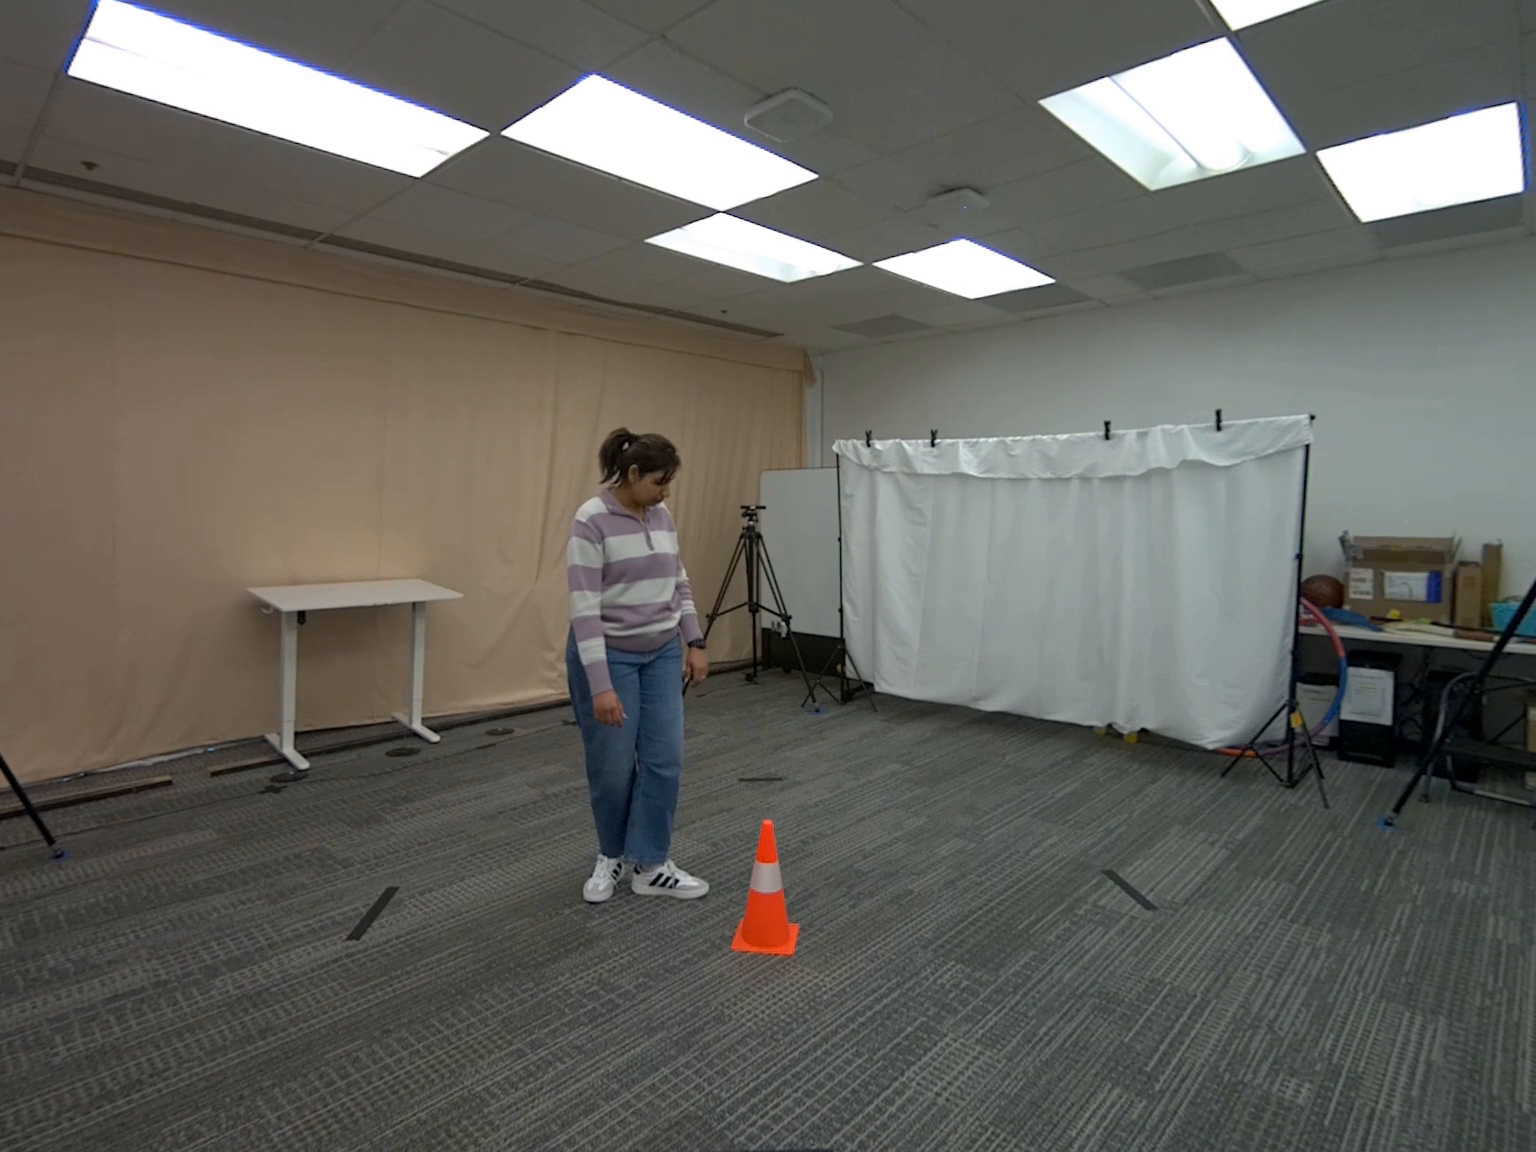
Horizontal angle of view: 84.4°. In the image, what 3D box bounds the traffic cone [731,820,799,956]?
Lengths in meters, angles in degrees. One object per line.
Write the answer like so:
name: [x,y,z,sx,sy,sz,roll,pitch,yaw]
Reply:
traffic cone: [-0.006,0.981,2.712,0.207,0.383,0.201,0,3,10]
